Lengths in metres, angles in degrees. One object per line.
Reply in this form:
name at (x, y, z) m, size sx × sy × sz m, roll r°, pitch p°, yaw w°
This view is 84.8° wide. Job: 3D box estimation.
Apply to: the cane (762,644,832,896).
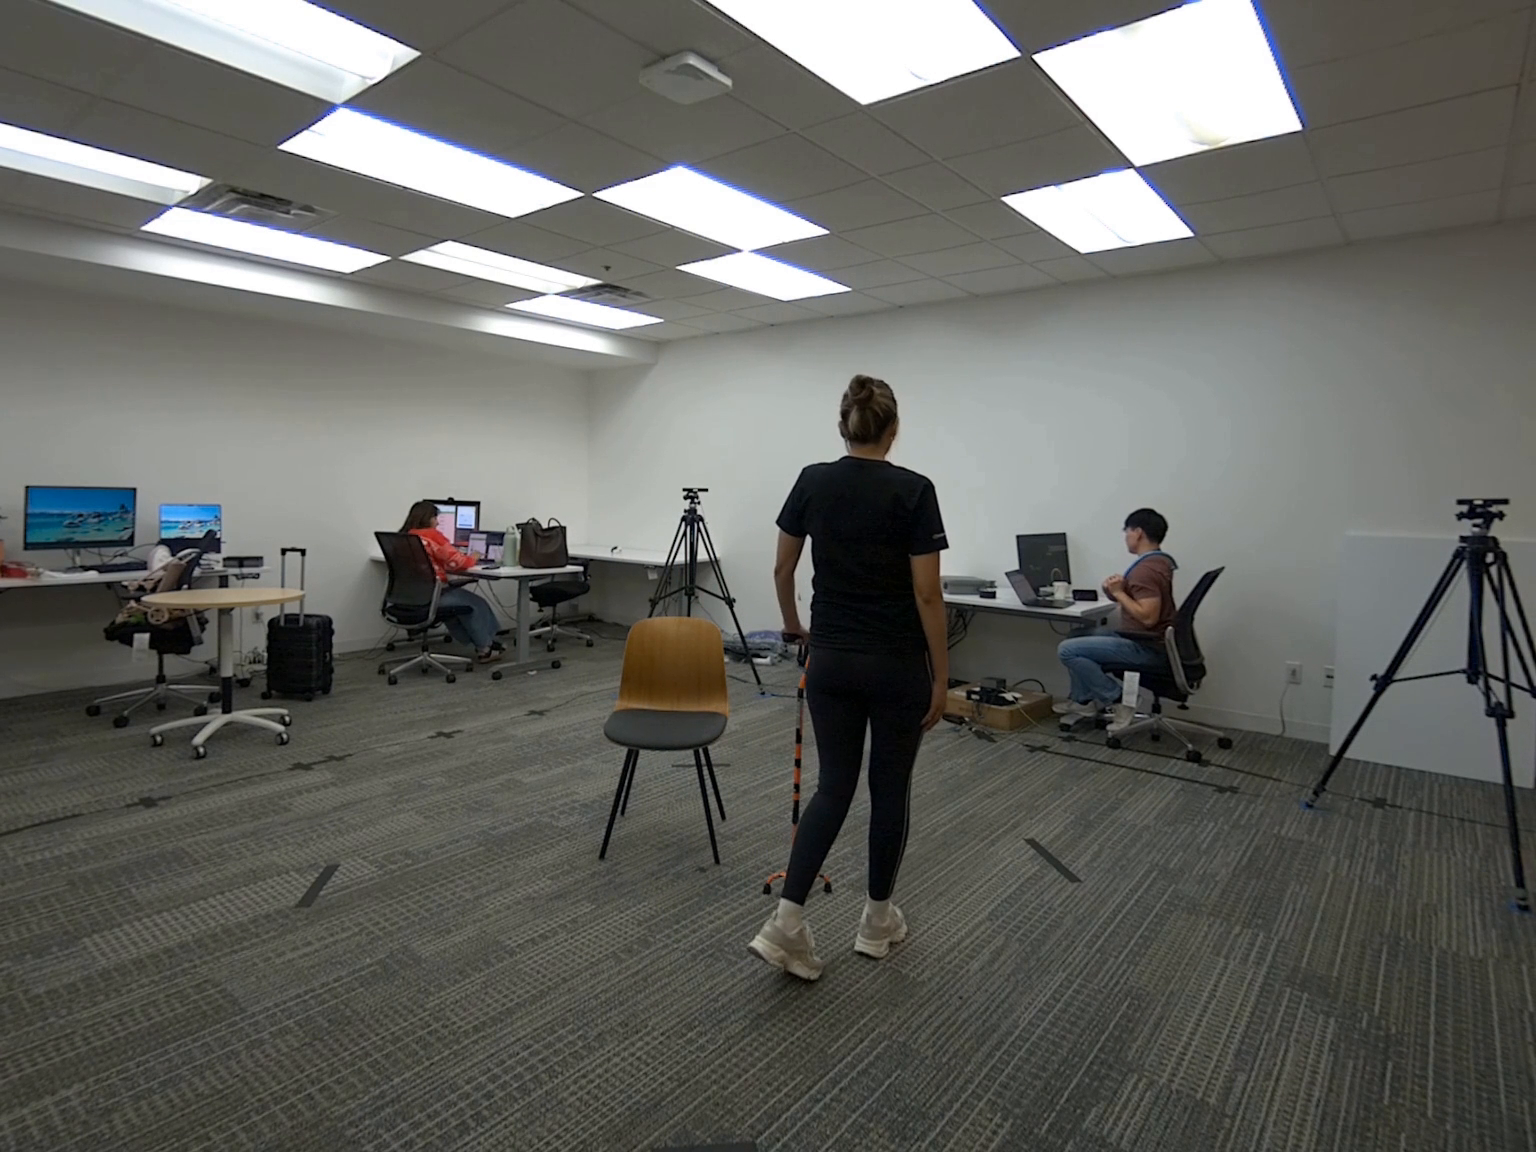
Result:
cane at (0.105, 0.638, 2.926) m, size 0.200 × 0.906 × 0.157 m, roll -1°, pitch 3°, yaw -42°
